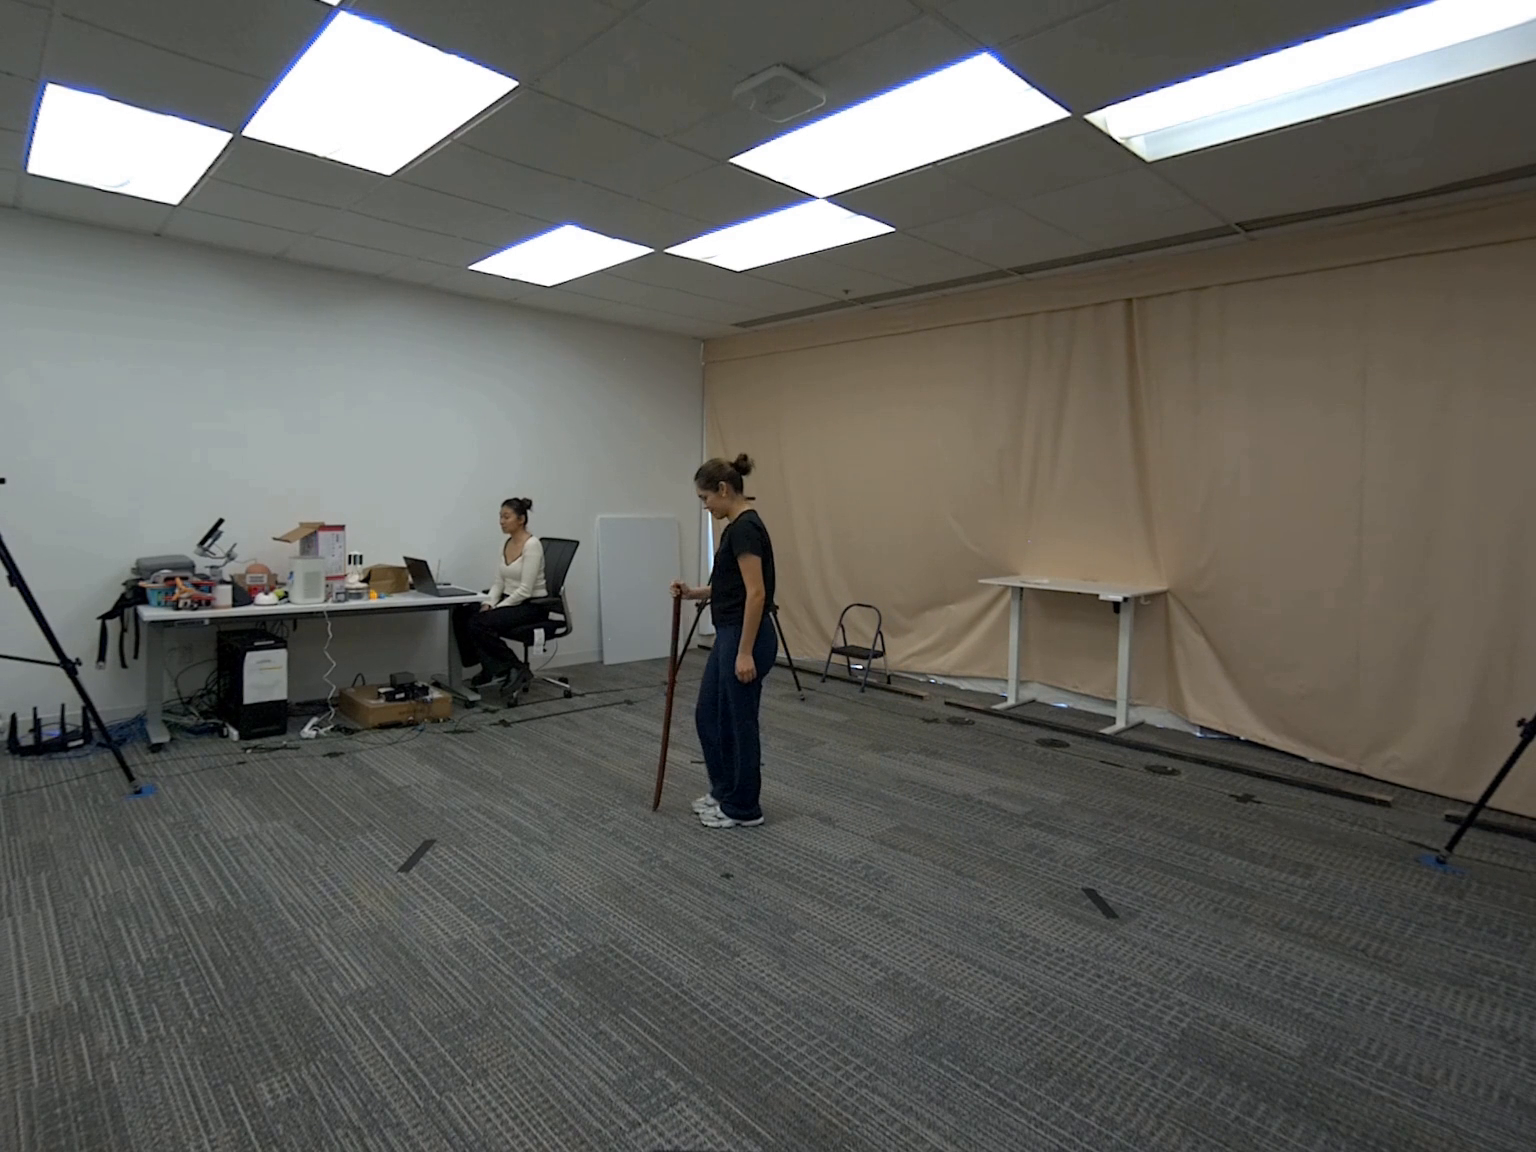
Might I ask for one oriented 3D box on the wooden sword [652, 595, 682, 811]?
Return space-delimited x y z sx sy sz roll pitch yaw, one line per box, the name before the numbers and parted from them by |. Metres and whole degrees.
wooden sword | -0.442 0.533 3.695 0.025 1.022 0.050 9 5 41
